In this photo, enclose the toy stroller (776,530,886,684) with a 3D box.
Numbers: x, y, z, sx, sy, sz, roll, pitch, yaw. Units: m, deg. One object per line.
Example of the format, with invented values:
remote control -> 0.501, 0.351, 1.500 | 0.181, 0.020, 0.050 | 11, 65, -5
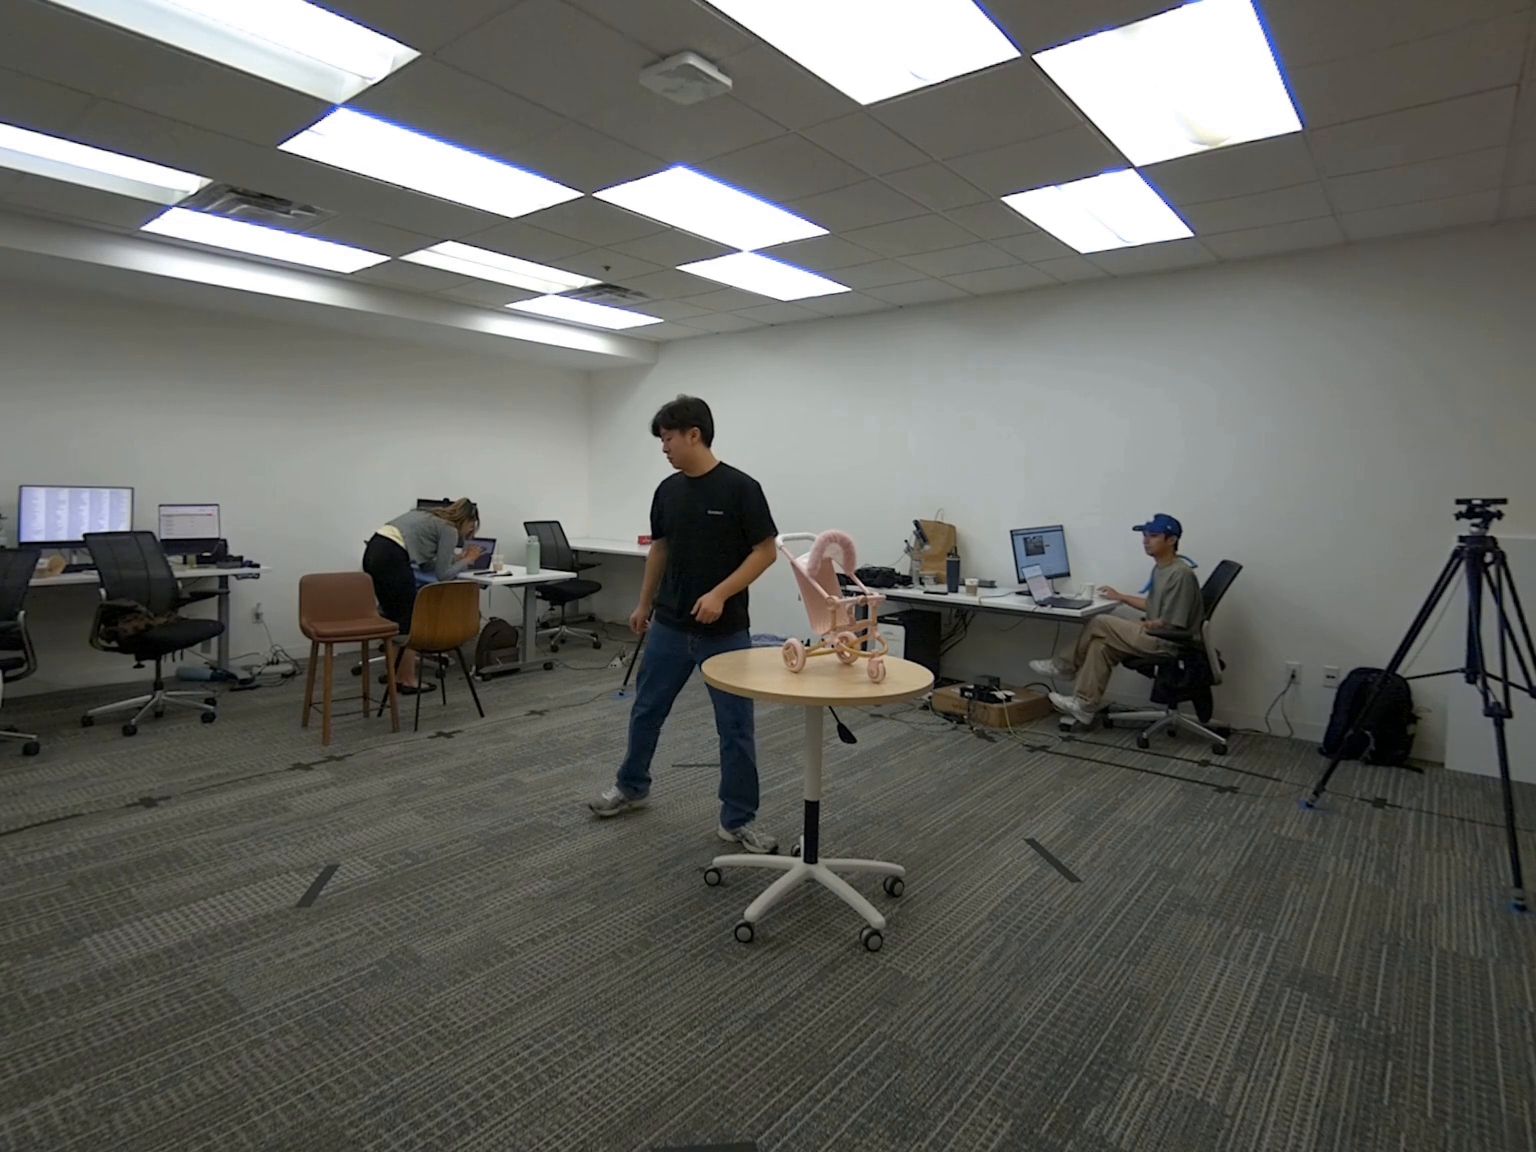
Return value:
toy stroller -> 0.210, 0.087, 2.796 | 0.273, 0.540, 0.348 | -2, -10, -34
